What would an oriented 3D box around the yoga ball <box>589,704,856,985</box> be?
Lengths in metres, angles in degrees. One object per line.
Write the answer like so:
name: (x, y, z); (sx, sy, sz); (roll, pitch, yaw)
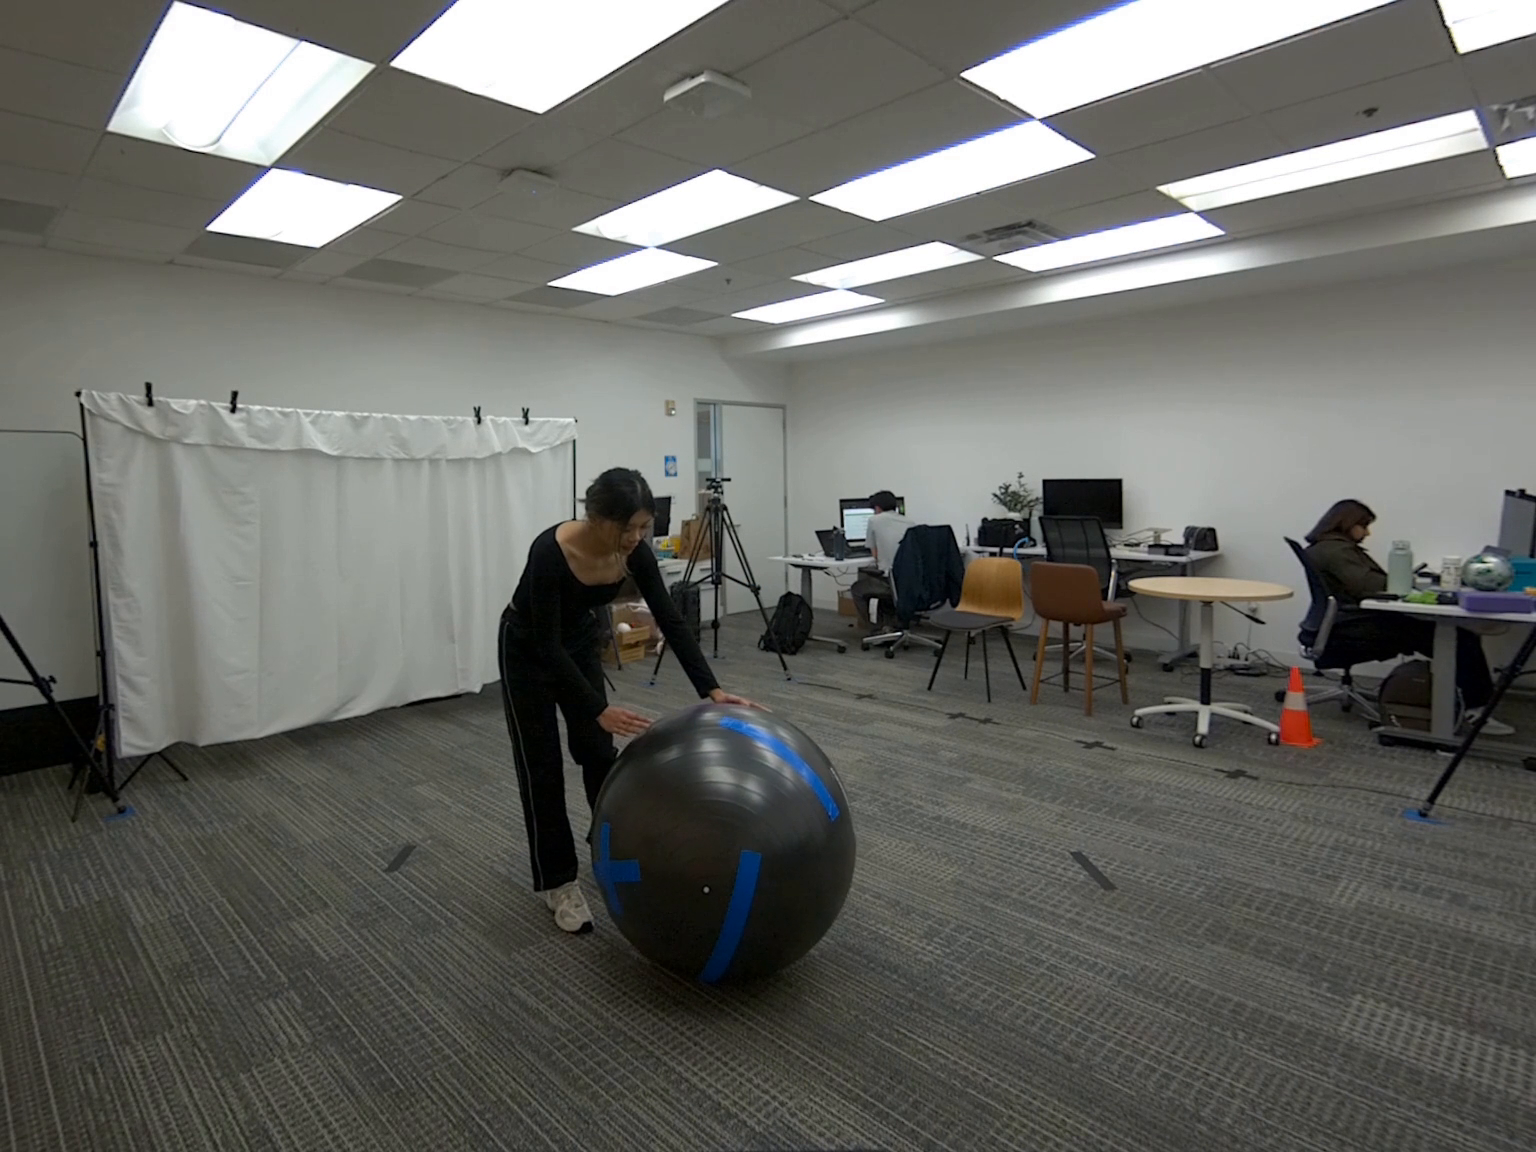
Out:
yoga ball: (-0.127, 0.755, 2.468); (0.757, 0.755, 0.762); (-1, 5, -2)
